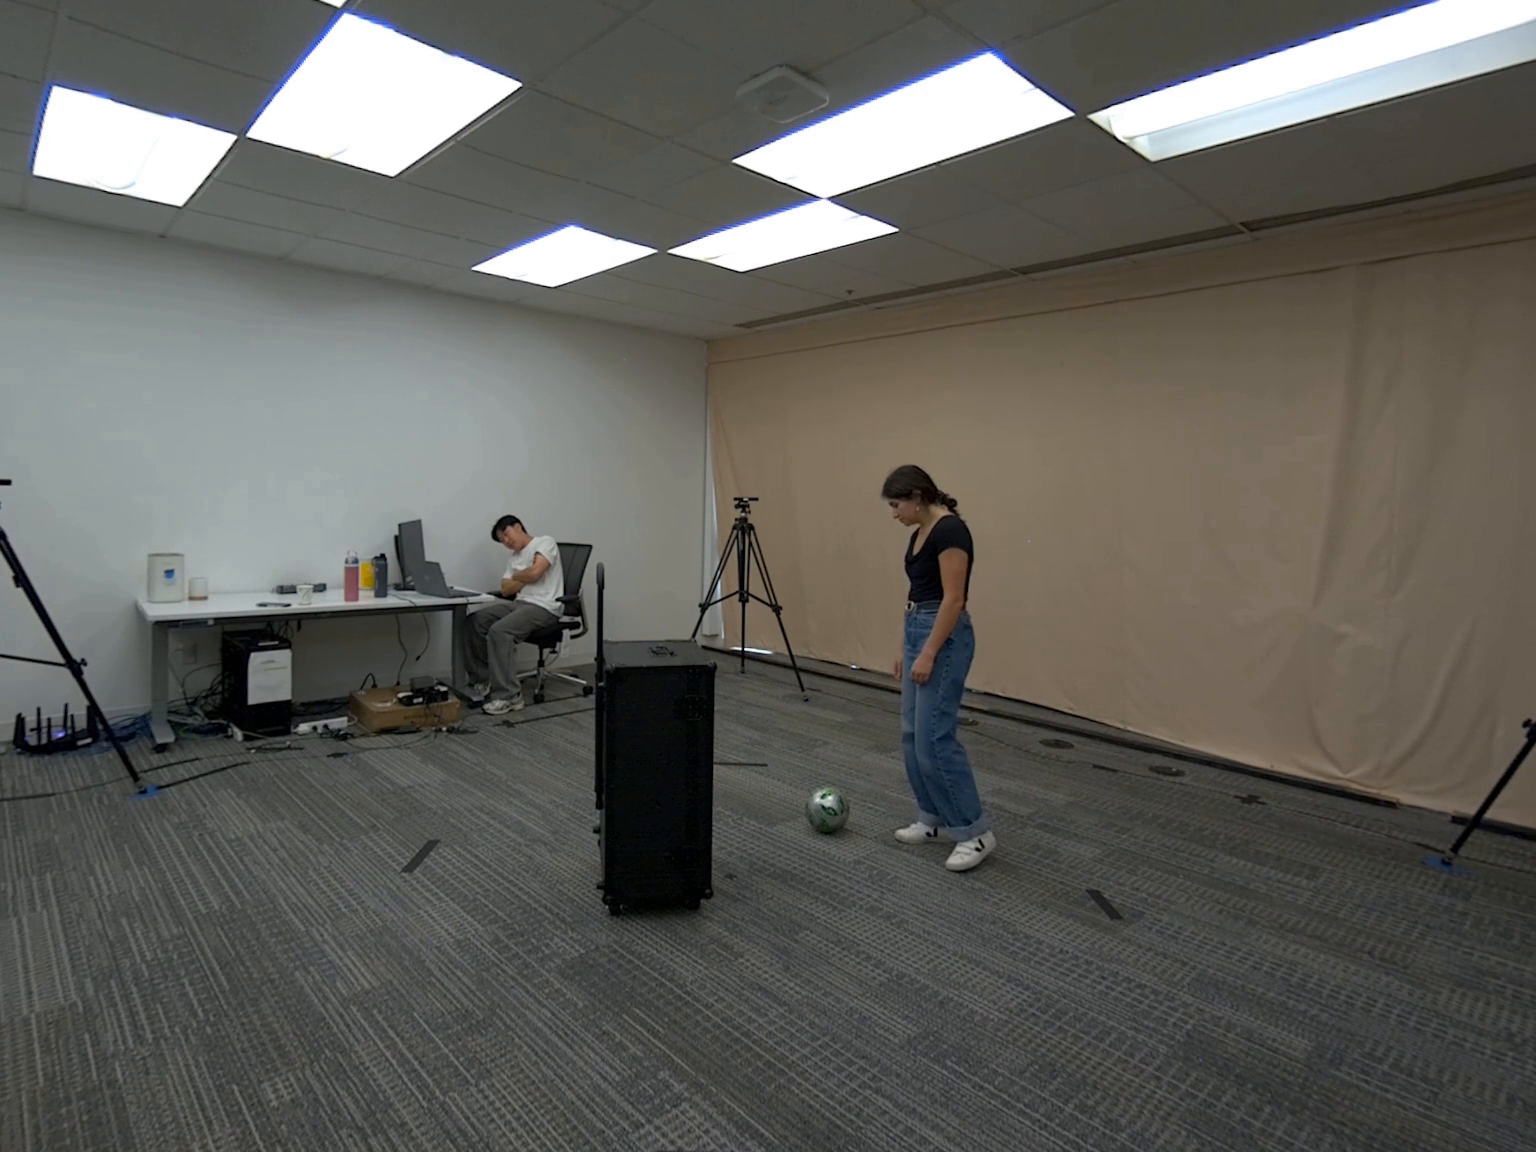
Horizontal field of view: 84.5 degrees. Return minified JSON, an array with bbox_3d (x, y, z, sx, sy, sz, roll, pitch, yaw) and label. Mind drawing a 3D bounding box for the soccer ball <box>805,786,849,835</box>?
[{"bbox_3d":[0.242,0.984,3.554,0.187,0.187,0.188,1,4,-1],"label":"soccer ball"}]
